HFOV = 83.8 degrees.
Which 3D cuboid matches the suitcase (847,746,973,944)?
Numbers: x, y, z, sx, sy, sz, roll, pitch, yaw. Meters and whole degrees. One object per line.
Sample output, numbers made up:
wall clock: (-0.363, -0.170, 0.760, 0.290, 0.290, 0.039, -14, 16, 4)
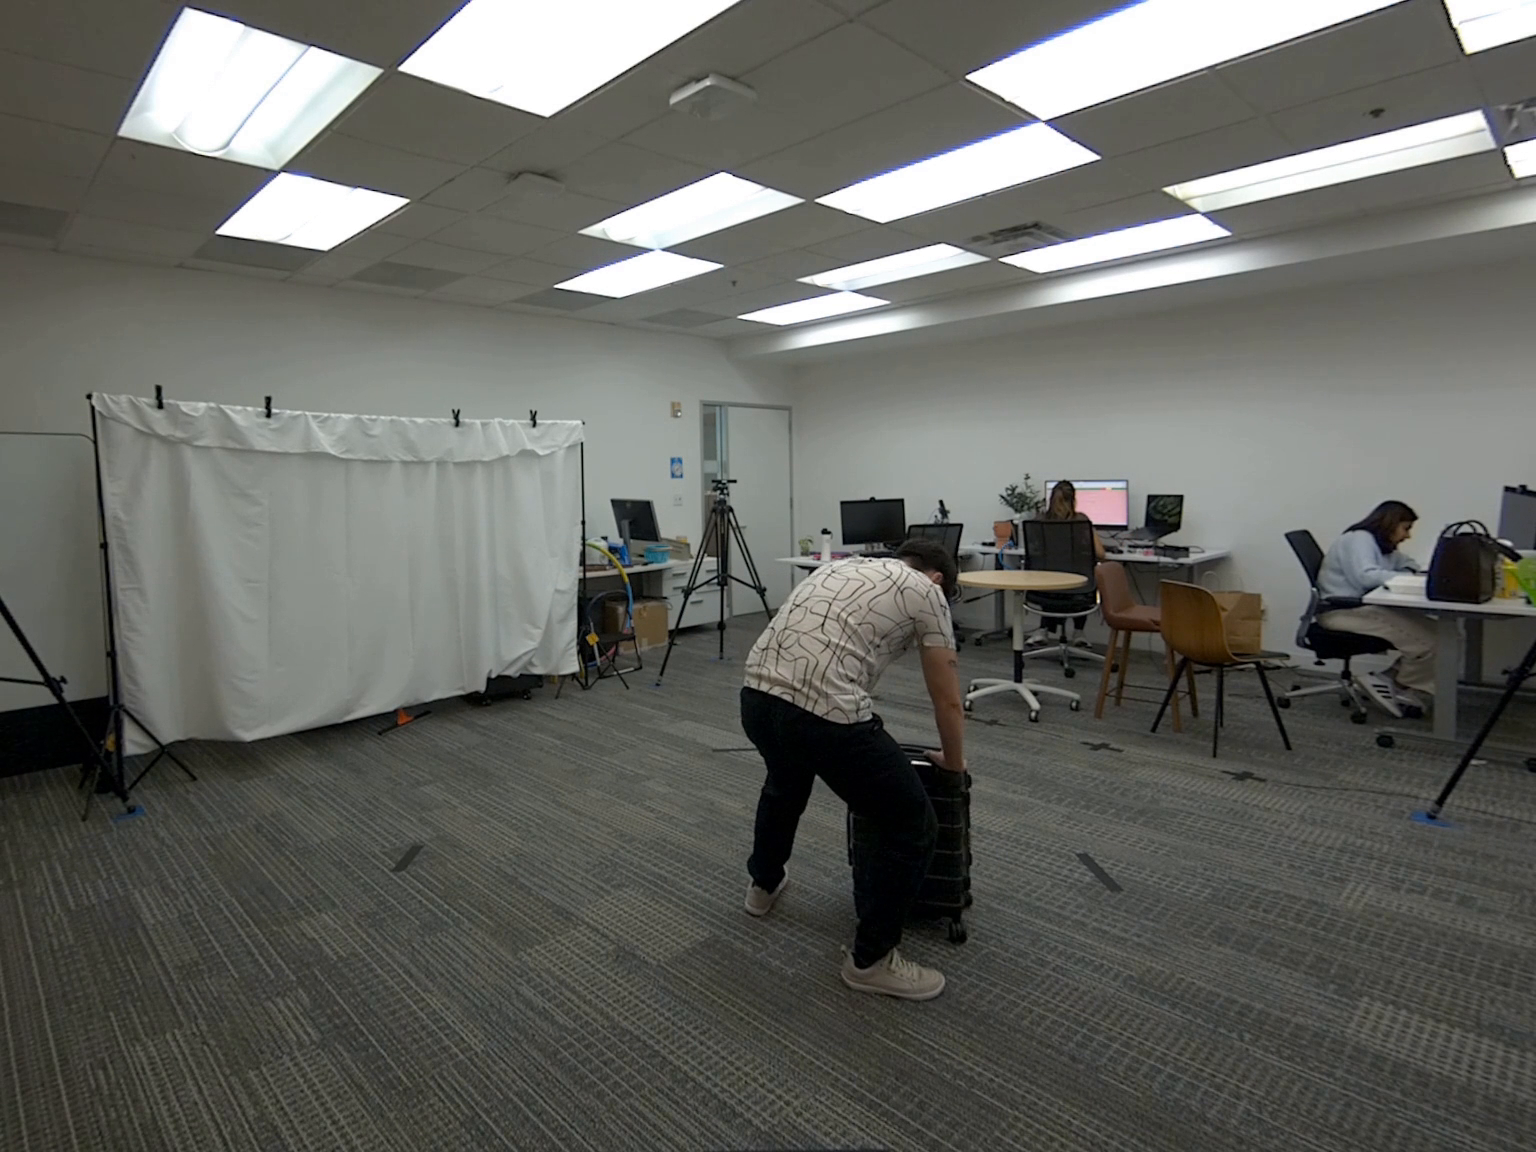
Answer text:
suitcase: (0.457, 0.807, 2.724, 0.381, 0.548, 0.245, -1, 3, 16)
